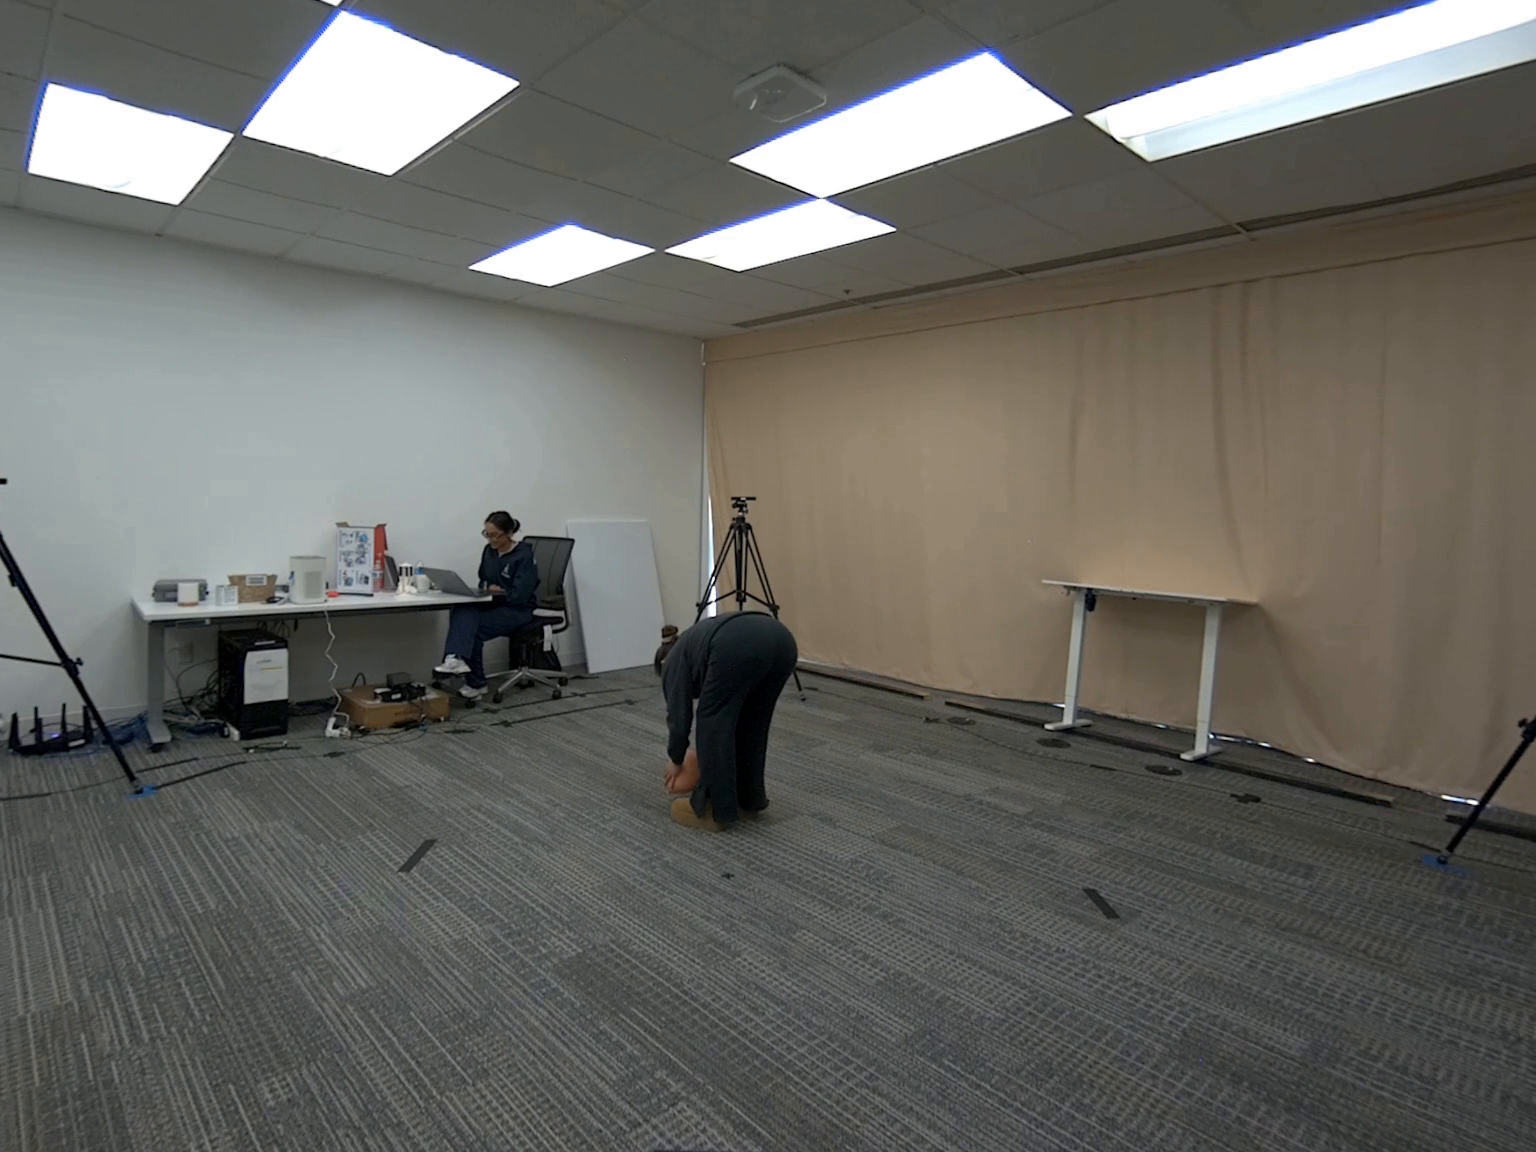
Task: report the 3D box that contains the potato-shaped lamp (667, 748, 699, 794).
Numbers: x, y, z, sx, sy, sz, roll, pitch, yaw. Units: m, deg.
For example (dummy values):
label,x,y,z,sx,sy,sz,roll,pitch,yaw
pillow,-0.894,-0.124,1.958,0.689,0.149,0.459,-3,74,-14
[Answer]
label,x,y,z,sx,sy,sz,roll,pitch,yaw
potato-shaped lamp,-0.399,0.885,3.883,0.161,0.200,0.173,5,-17,-38
